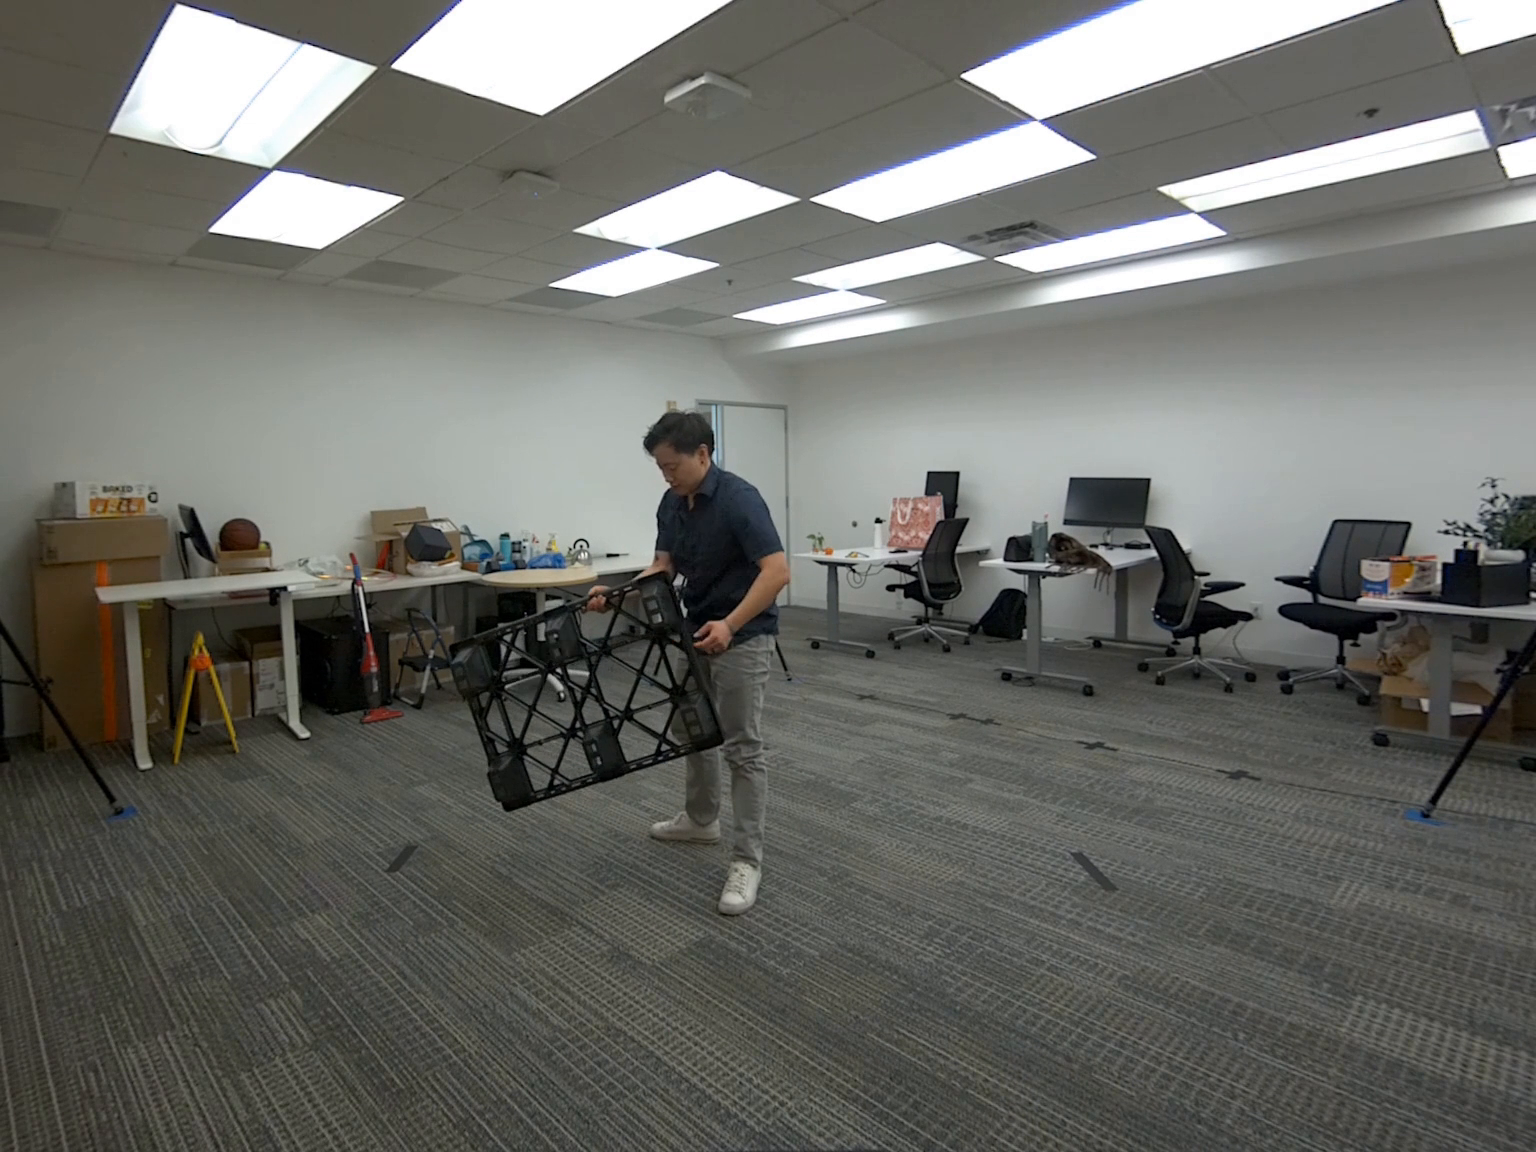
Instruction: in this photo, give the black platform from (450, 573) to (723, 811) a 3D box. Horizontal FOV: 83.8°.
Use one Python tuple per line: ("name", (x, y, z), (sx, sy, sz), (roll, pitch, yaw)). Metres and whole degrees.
("black platform", (-0.616, 0.394, 2.796), (0.810, 0.606, 0.142), (-20, -1, 9))
